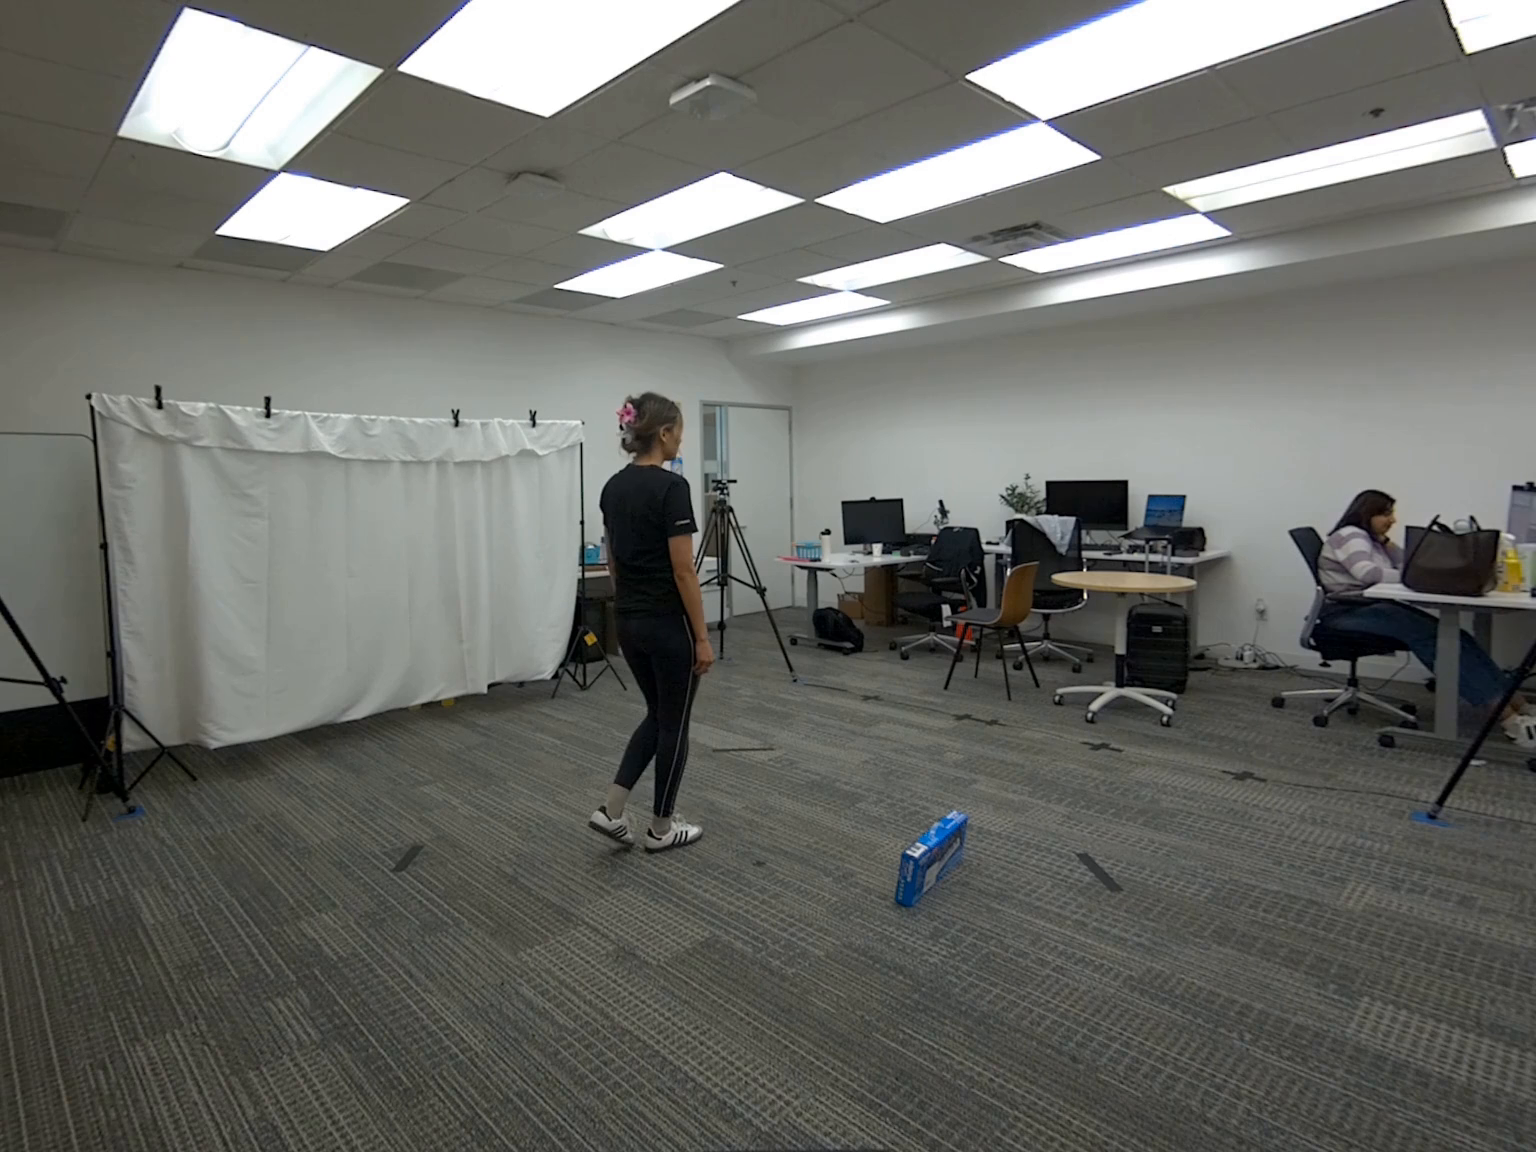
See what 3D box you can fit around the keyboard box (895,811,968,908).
[{"bbox_3d":[0.574,0.968,2.943,0.061,0.174,0.427,11,12,33],"label":"keyboard box"}]
